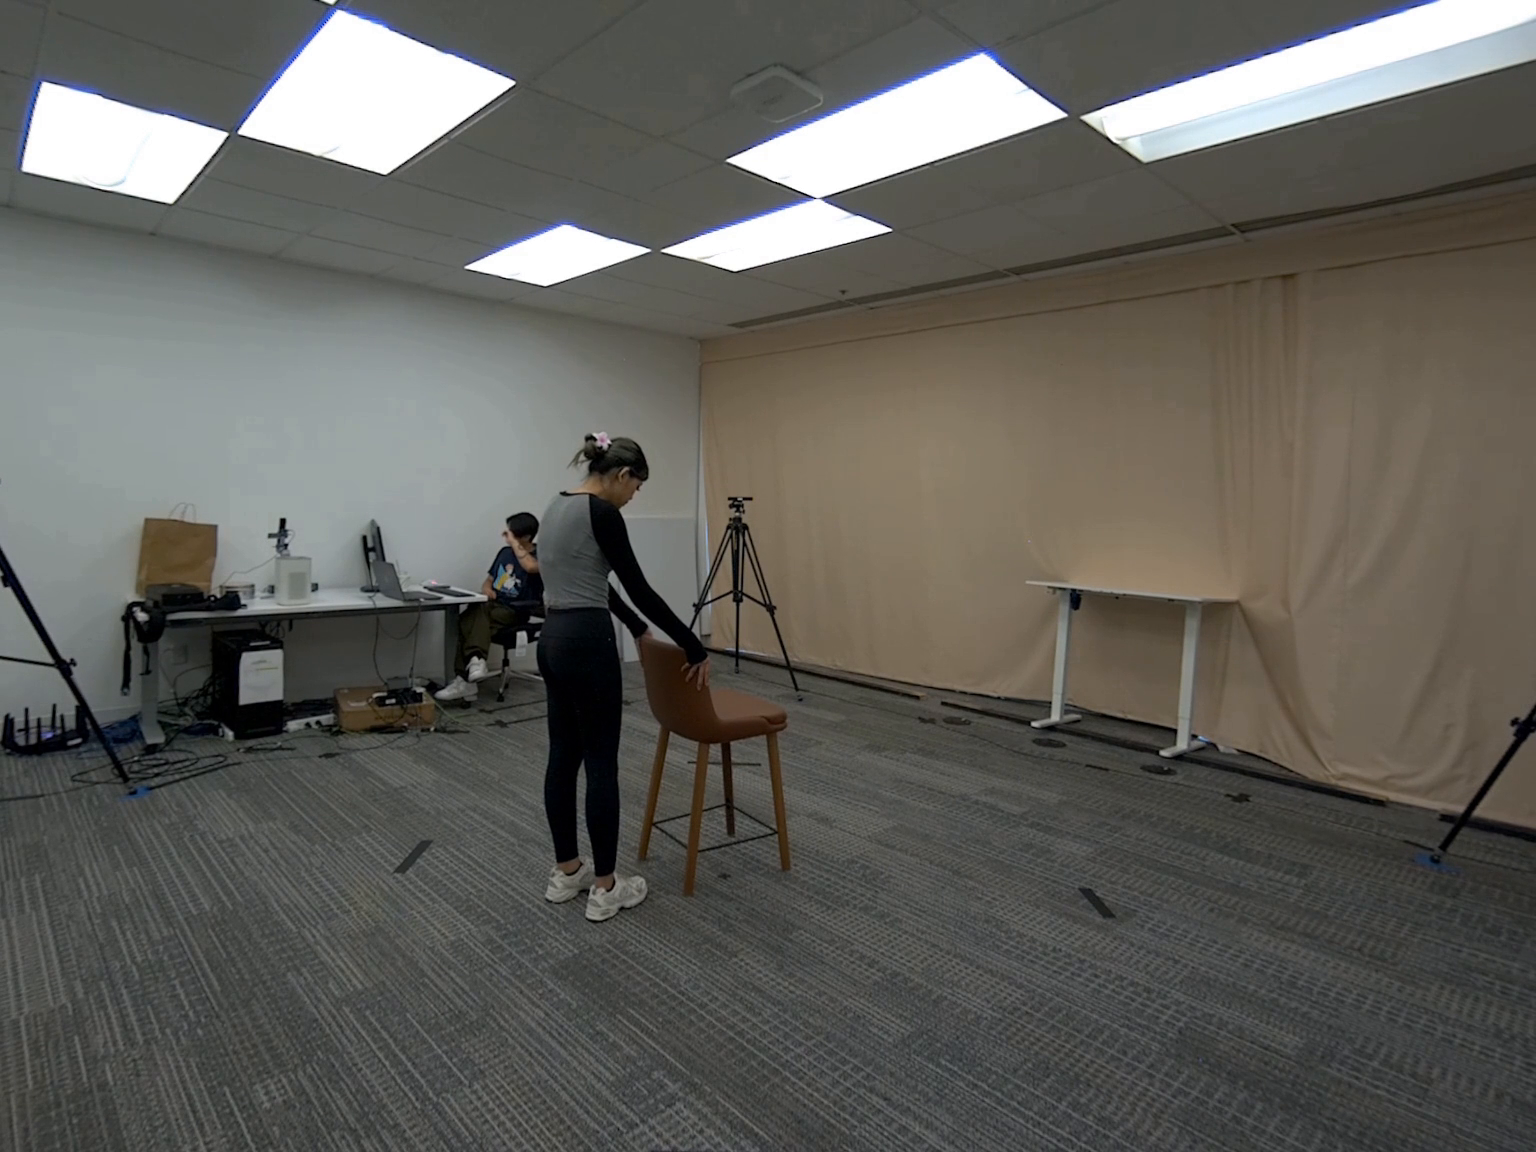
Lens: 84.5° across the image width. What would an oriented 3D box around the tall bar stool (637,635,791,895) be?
[{"bbox_3d":[-0.218,0.661,3.181,0.458,0.886,0.468,-4,6,-35],"label":"tall bar stool"}]
